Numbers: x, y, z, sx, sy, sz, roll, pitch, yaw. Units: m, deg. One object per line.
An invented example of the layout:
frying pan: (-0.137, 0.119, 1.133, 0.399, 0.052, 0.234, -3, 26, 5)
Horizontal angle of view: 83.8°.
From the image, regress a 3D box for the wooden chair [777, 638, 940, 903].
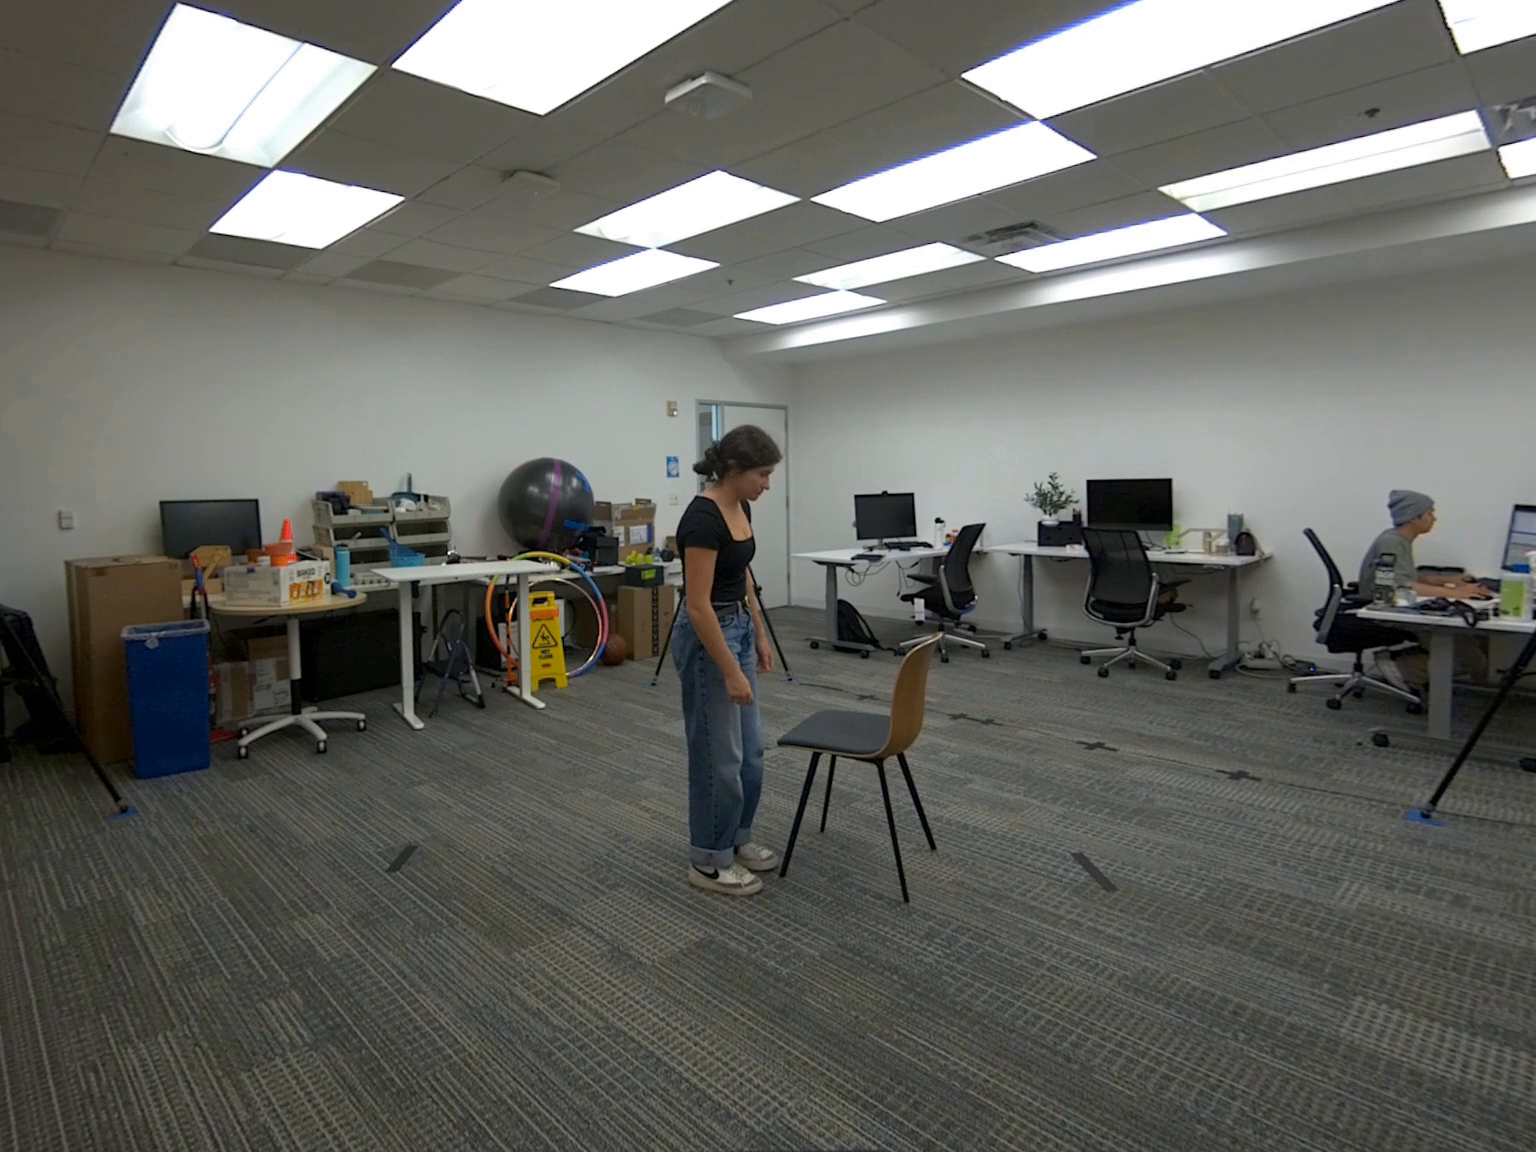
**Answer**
wooden chair: (0.318, 0.611, 3.065, 0.536, 0.873, 0.469, 6, 6, 24)
